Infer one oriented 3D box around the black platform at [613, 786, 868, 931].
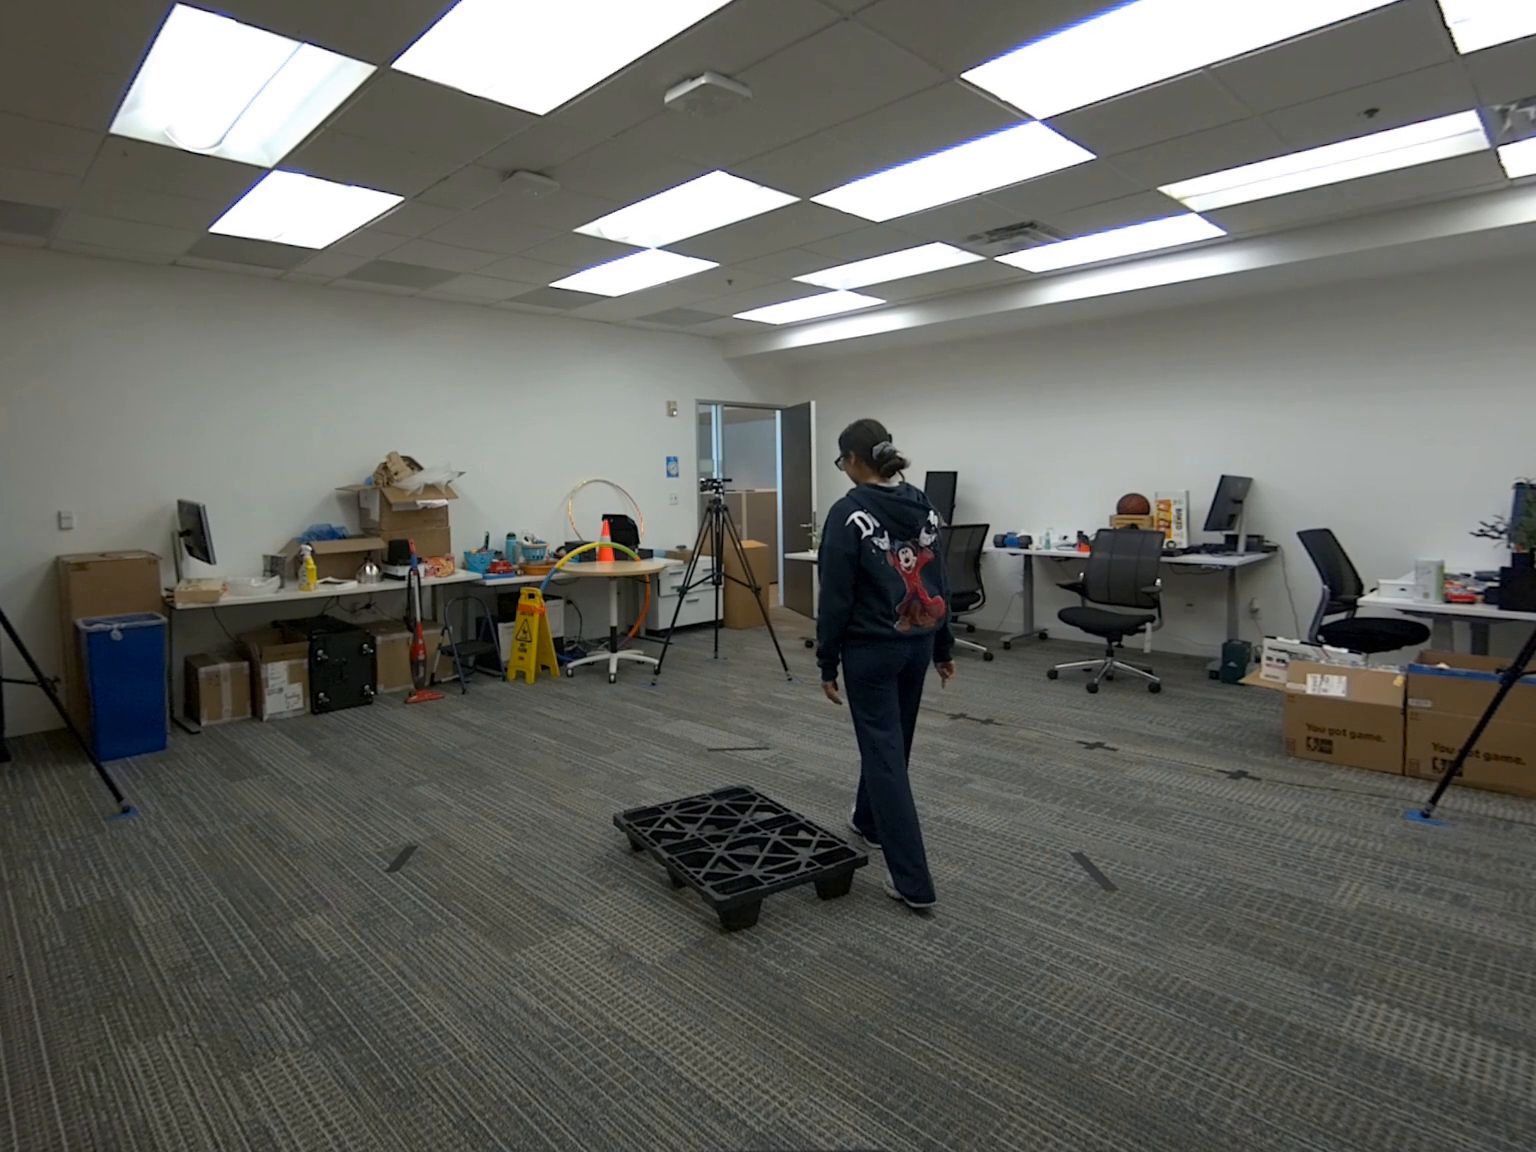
[{"bbox_3d":[-0.122,0.987,3.053,0.591,0.142,0.829,-6,8,-32],"label":"black platform"}]
